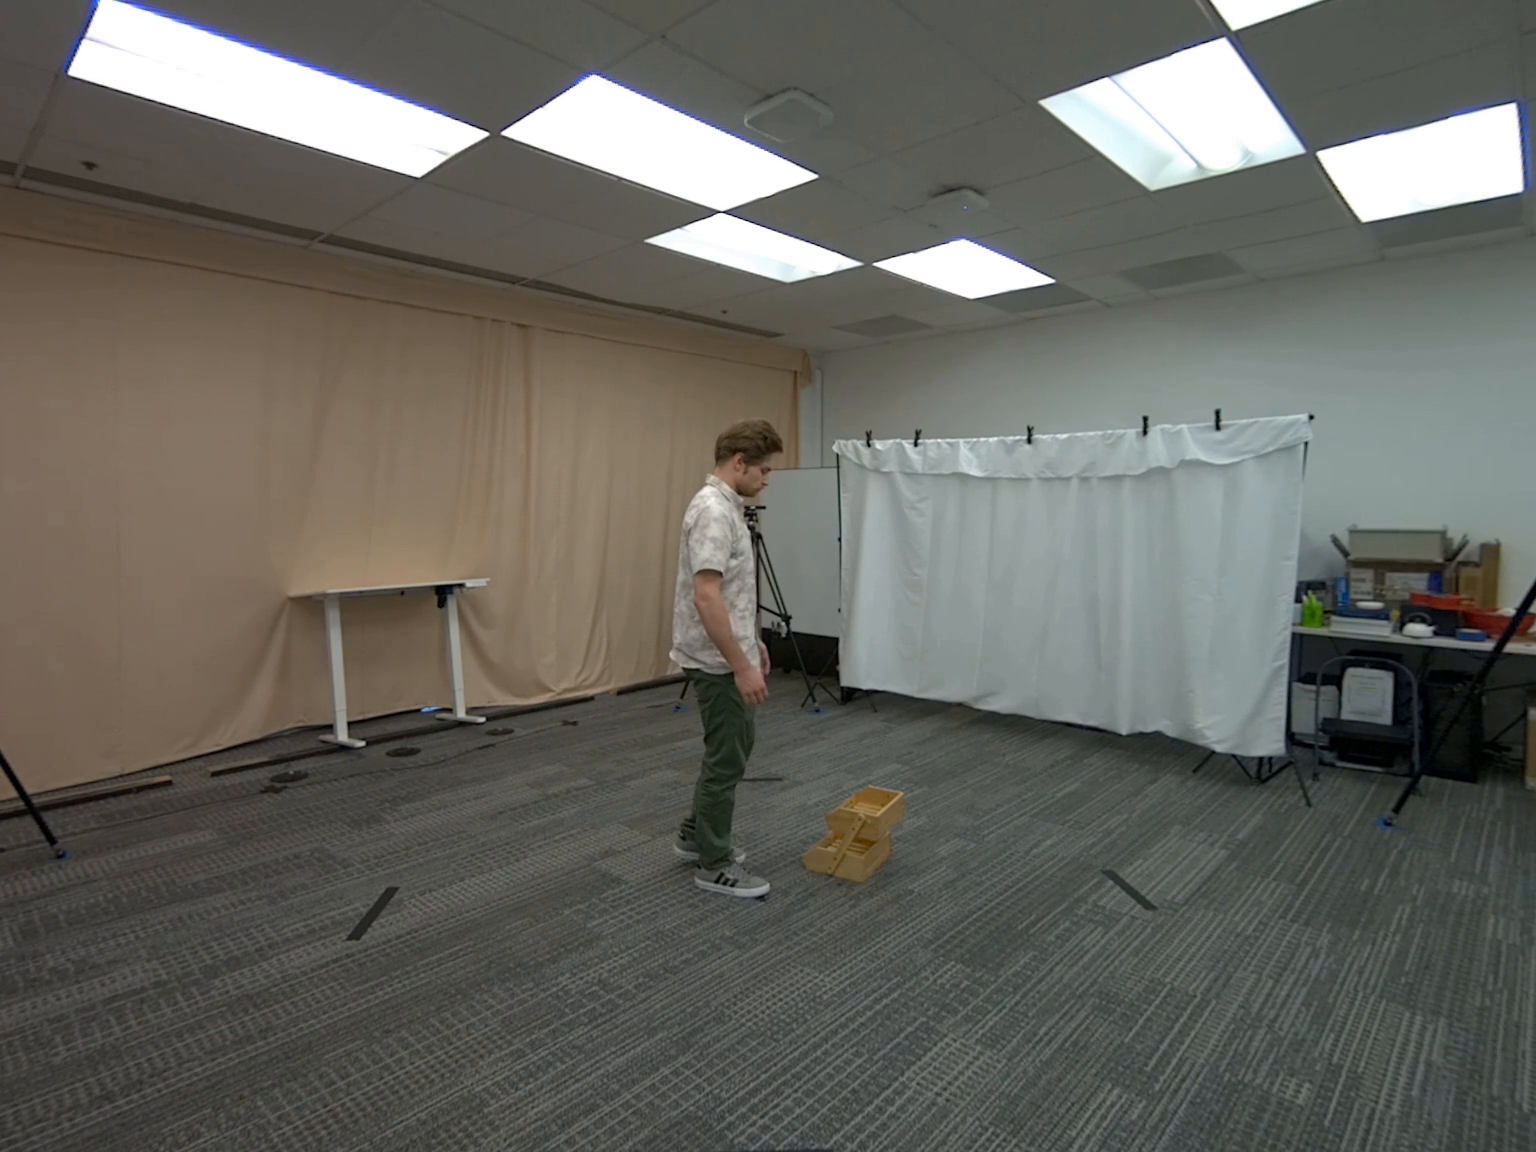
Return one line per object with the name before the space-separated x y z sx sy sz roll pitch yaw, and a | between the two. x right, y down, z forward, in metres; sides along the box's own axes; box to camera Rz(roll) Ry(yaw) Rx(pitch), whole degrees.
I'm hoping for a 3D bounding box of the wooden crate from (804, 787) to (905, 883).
wooden crate | 0.333 0.982 3.276 0.311 0.272 0.316 4 5 29
